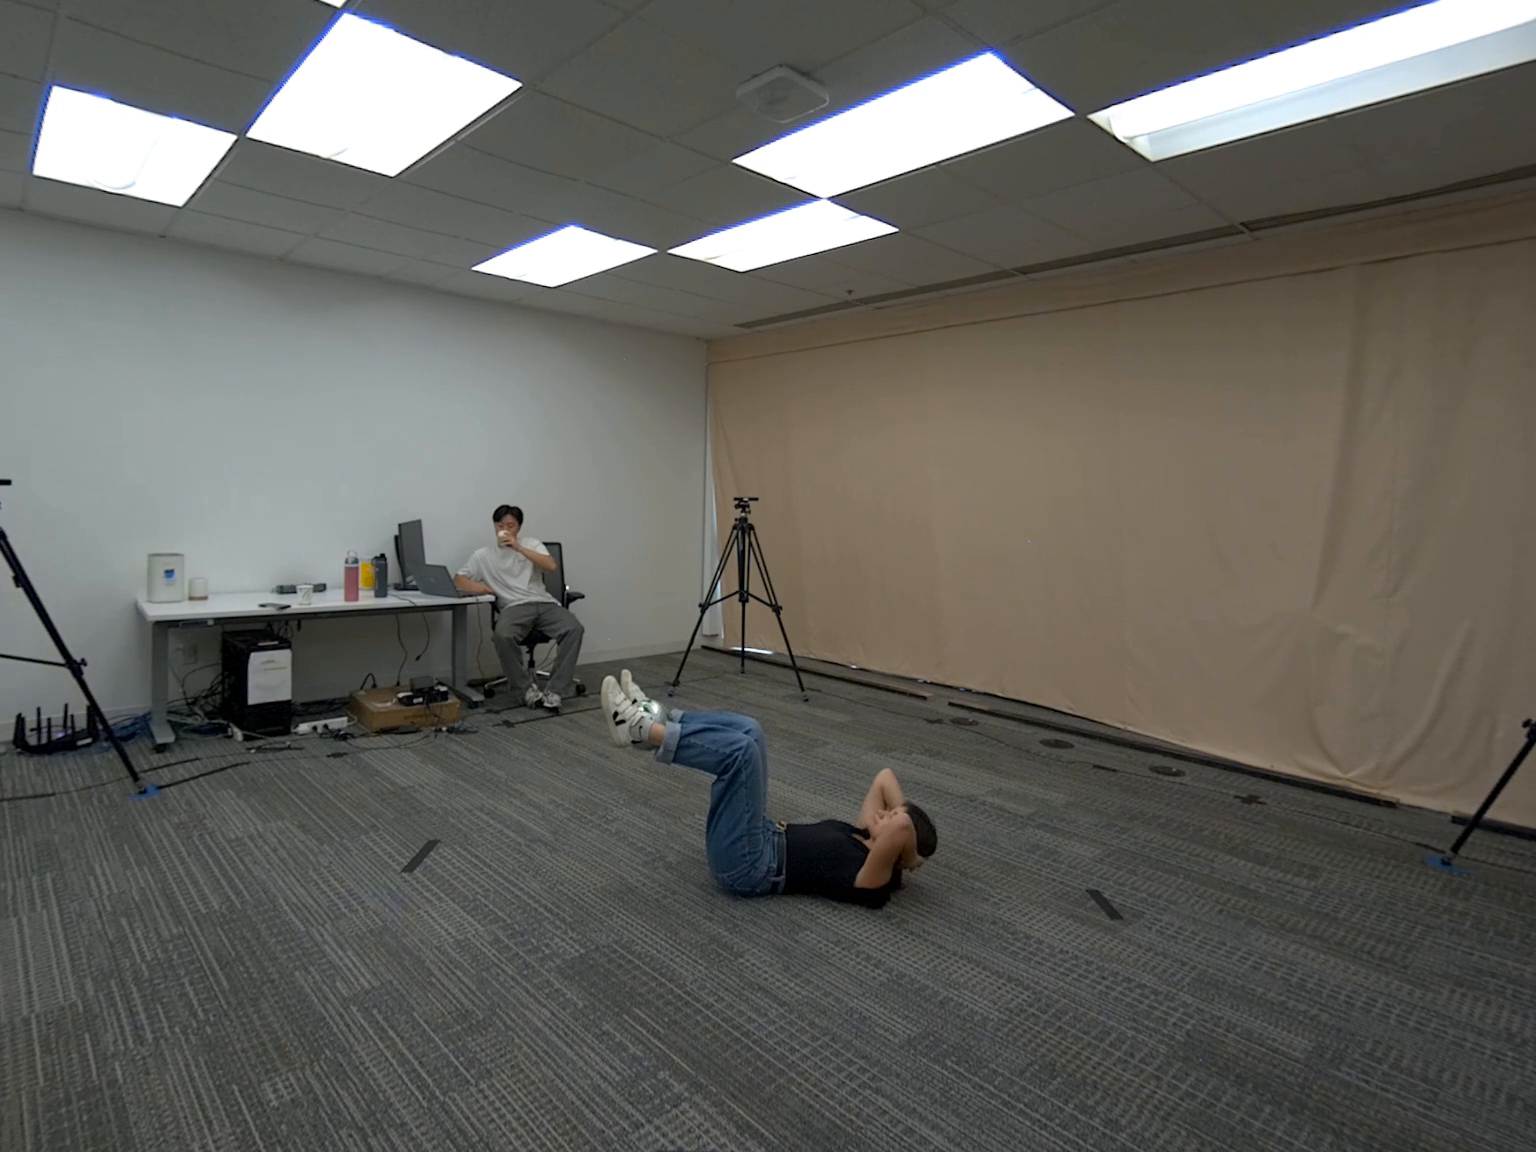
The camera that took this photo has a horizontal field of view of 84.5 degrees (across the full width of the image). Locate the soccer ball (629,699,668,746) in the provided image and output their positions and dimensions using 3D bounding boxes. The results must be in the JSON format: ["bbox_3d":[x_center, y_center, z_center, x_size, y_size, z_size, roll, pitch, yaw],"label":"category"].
[{"bbox_3d":[-0.459,0.555,3.087,0.187,0.186,0.188,1,7,-1],"label":"soccer ball"}]
